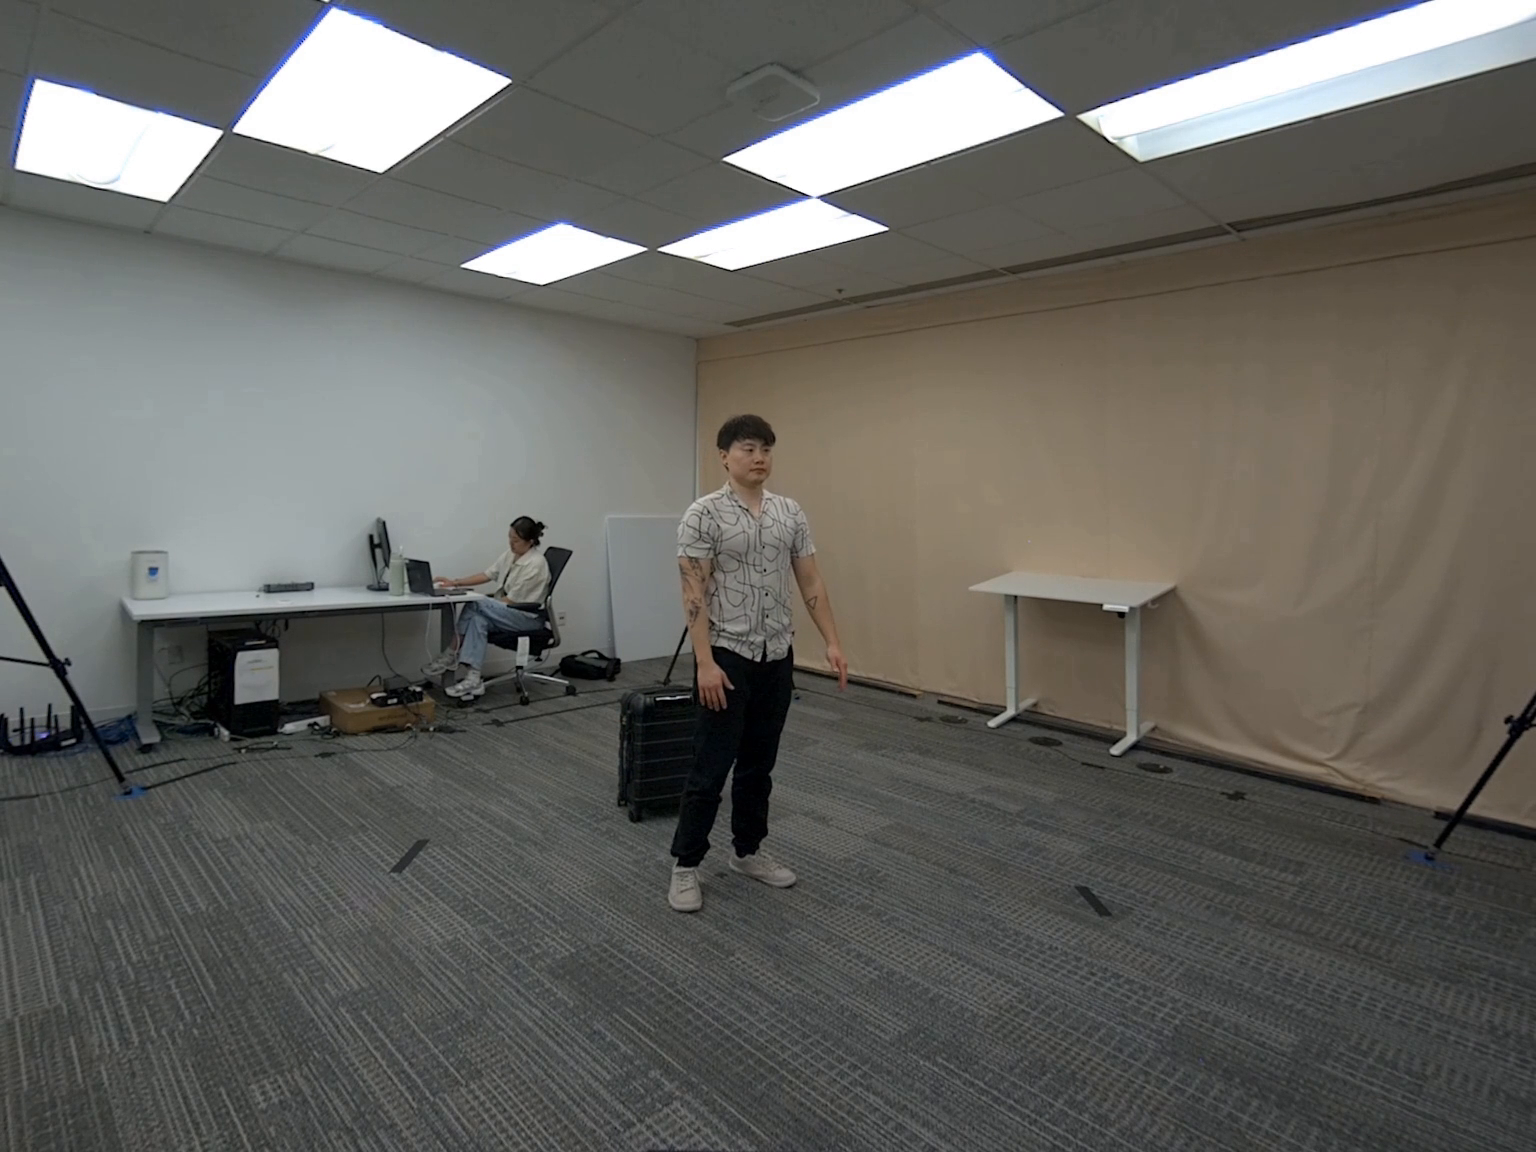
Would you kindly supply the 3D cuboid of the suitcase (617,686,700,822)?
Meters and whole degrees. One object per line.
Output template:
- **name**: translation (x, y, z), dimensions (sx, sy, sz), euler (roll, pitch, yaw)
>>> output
- **suitcase**: translation (-0.482, 0.763, 3.734), dimensions (0.368, 0.547, 0.254), euler (-1, 5, -26)
